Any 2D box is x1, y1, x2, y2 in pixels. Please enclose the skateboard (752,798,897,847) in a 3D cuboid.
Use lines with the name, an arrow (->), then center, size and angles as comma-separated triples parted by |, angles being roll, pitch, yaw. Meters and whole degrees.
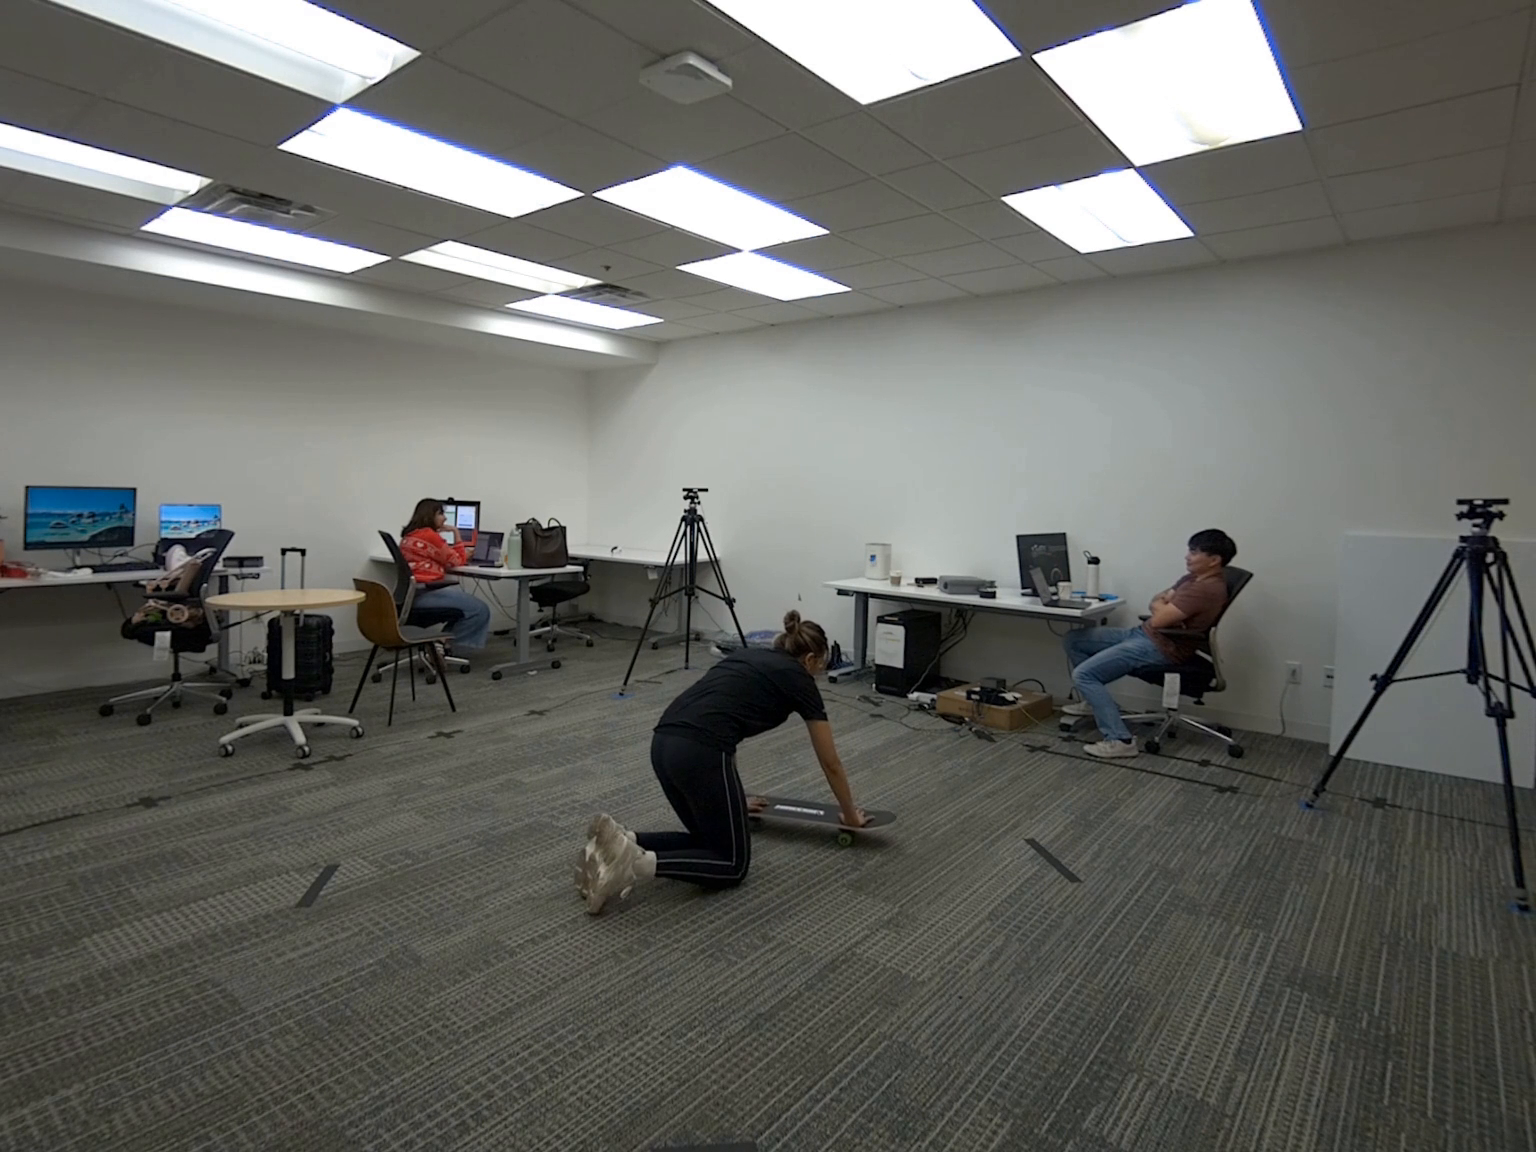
skateboard -> 0.118, 0.983, 3.474 | 0.800, 0.110, 0.191 | 3, 6, 17
